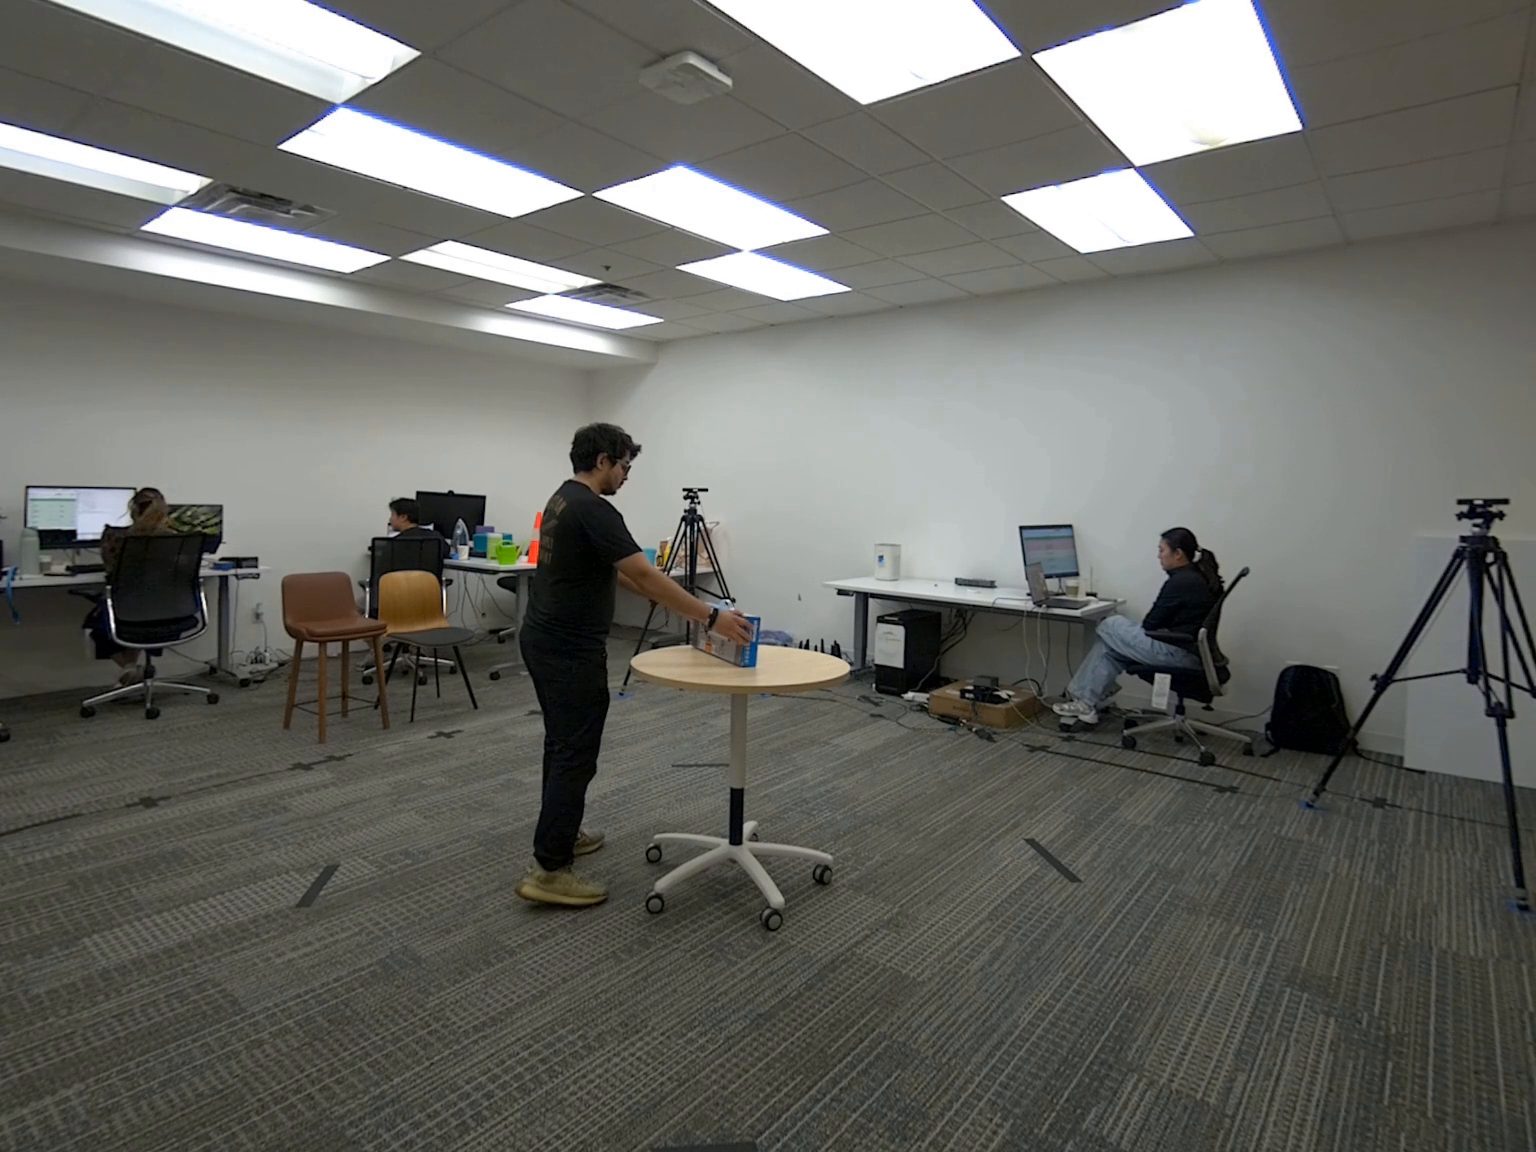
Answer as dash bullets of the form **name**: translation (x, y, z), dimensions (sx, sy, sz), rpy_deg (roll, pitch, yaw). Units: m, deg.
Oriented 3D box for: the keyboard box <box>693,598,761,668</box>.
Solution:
- **keyboard box**: translation (-0.172, 0.209, 3.085), dimensions (0.057, 0.175, 0.449), rpy_deg (3, 4, -28)
